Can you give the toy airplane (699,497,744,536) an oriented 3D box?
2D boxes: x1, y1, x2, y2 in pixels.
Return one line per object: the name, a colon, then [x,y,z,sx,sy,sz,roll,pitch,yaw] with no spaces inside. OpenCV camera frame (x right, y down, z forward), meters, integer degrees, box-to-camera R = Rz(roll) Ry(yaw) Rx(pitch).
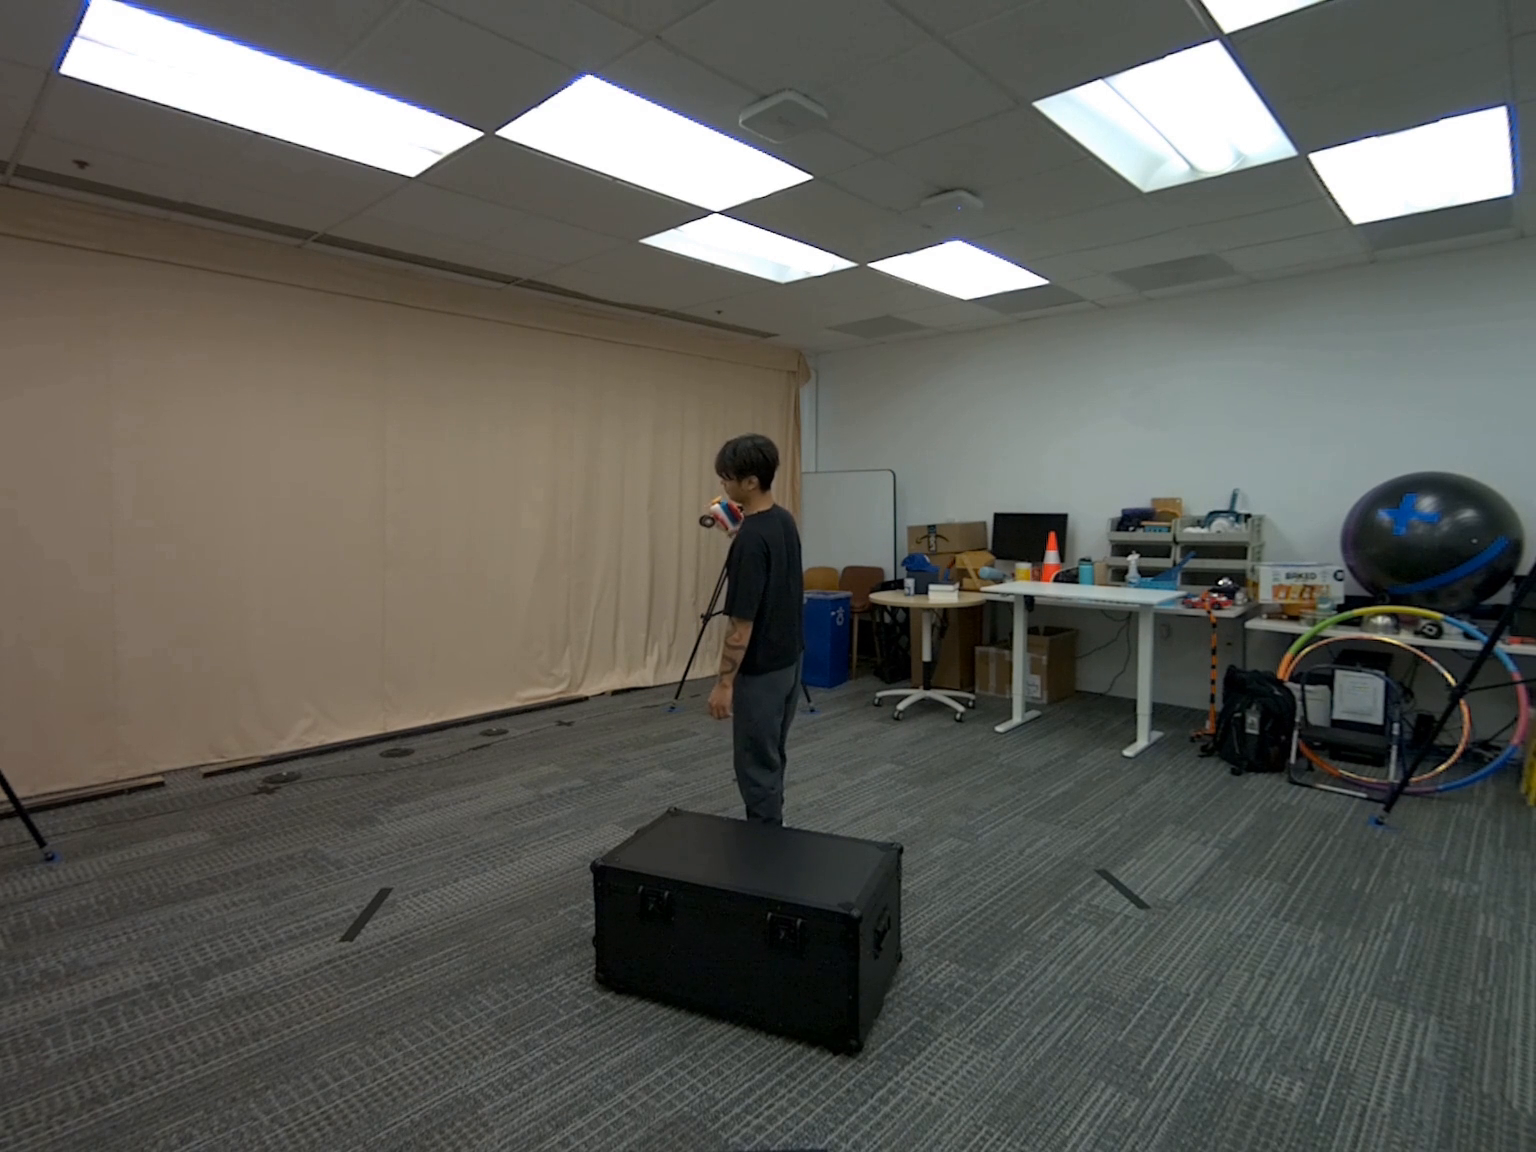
toy airplane: [-0.180,-0.231,3.750,0.260,0.156,0.250,37,-7,49]
